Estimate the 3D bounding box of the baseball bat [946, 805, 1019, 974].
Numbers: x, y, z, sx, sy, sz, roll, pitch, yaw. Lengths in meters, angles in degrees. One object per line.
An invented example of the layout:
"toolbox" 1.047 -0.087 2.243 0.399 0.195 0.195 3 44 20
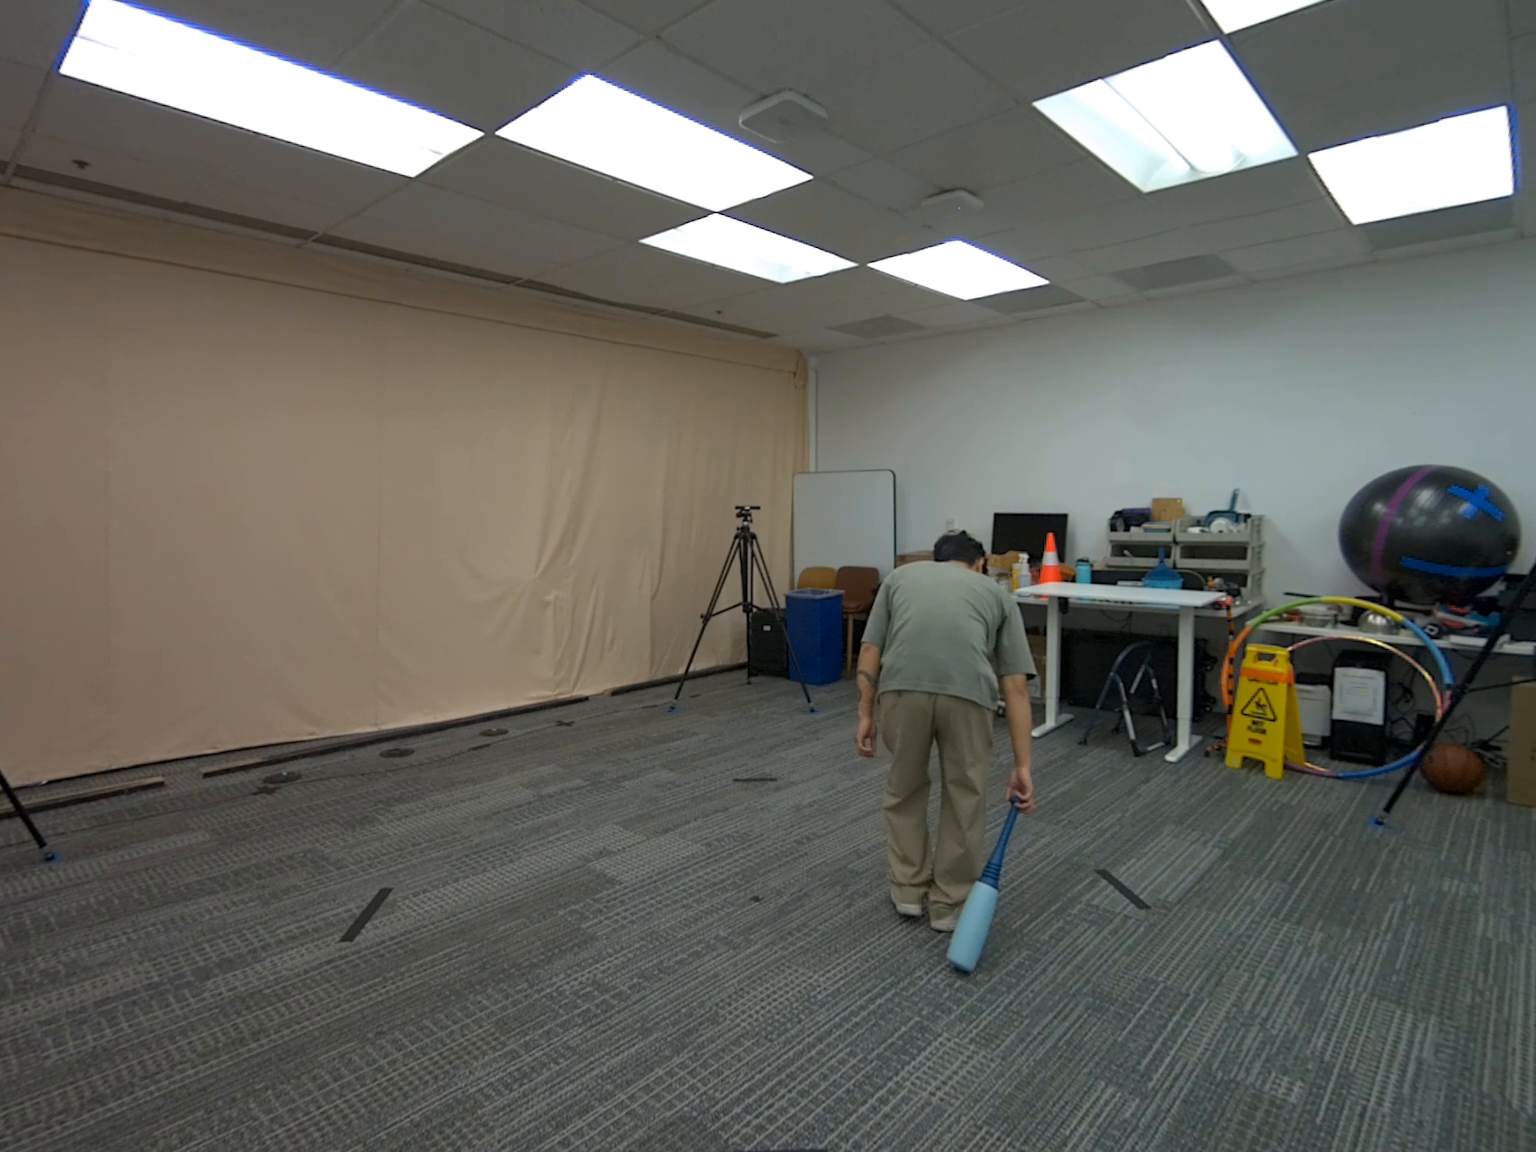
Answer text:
"baseball bat" 0.686 0.936 2.598 0.090 0.543 0.088 25 -20 8
